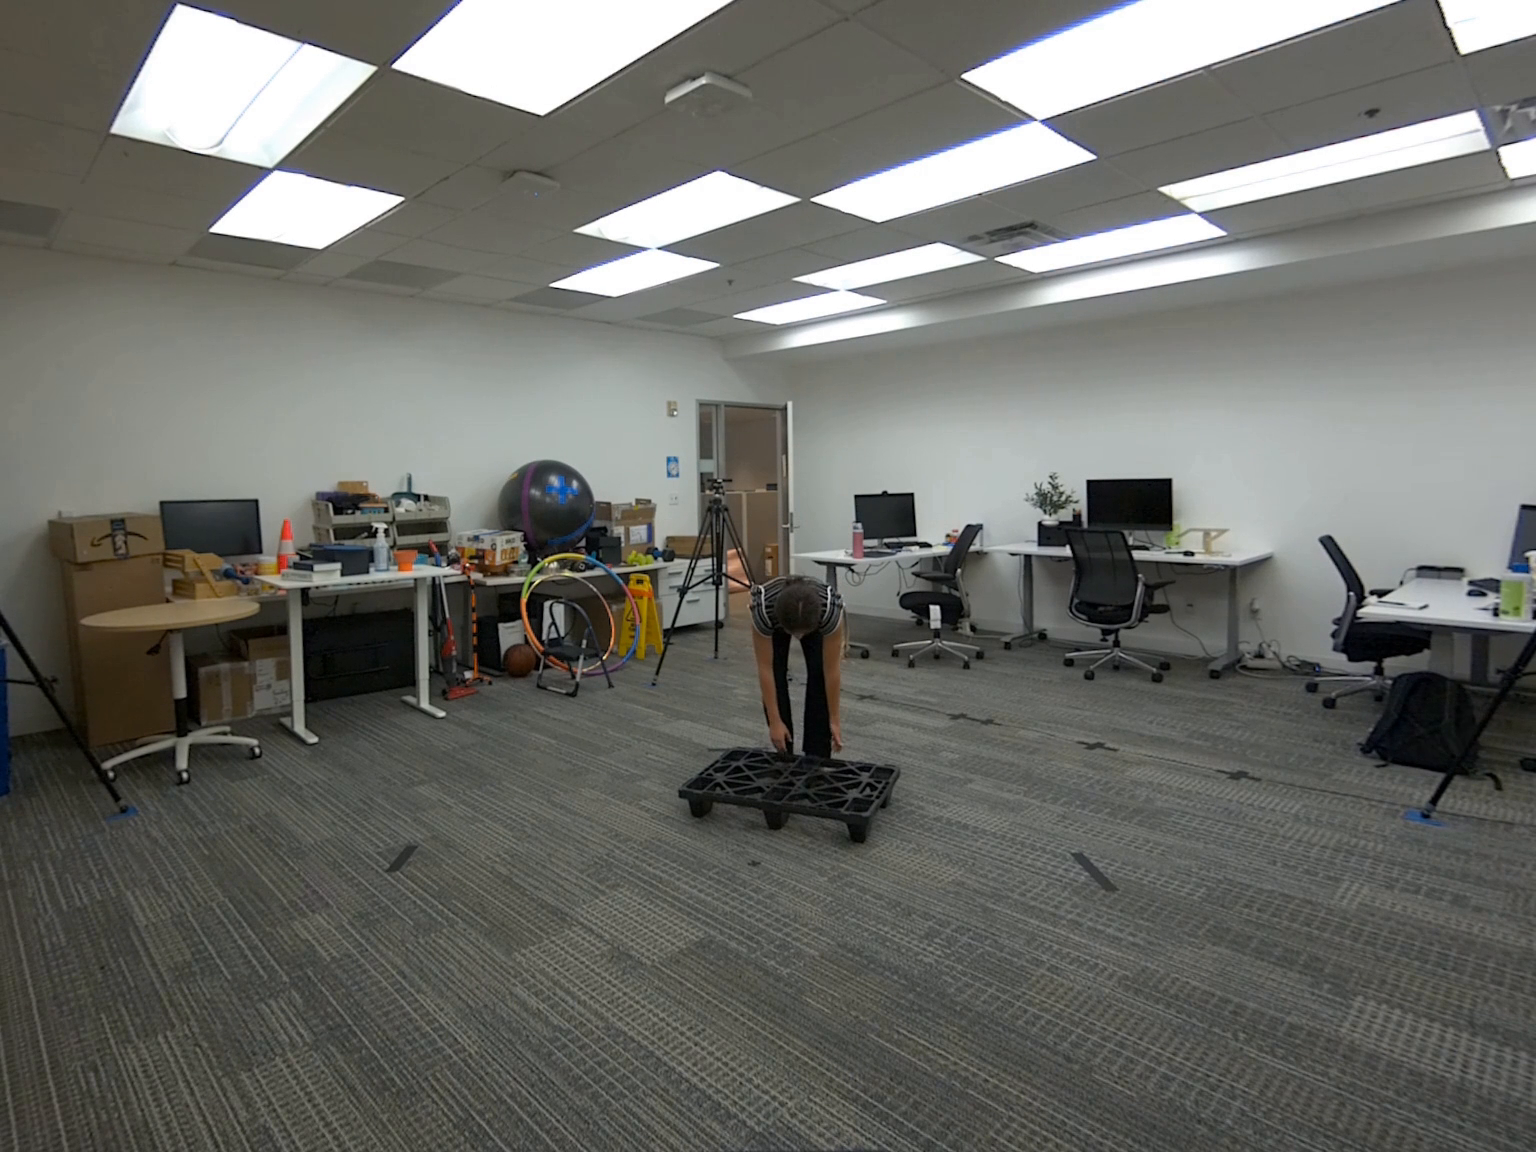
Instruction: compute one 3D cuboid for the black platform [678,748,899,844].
[{"bbox_3d":[0.104,0.916,3.610,0.822,0.142,0.595,1,7,22],"label":"black platform"}]
